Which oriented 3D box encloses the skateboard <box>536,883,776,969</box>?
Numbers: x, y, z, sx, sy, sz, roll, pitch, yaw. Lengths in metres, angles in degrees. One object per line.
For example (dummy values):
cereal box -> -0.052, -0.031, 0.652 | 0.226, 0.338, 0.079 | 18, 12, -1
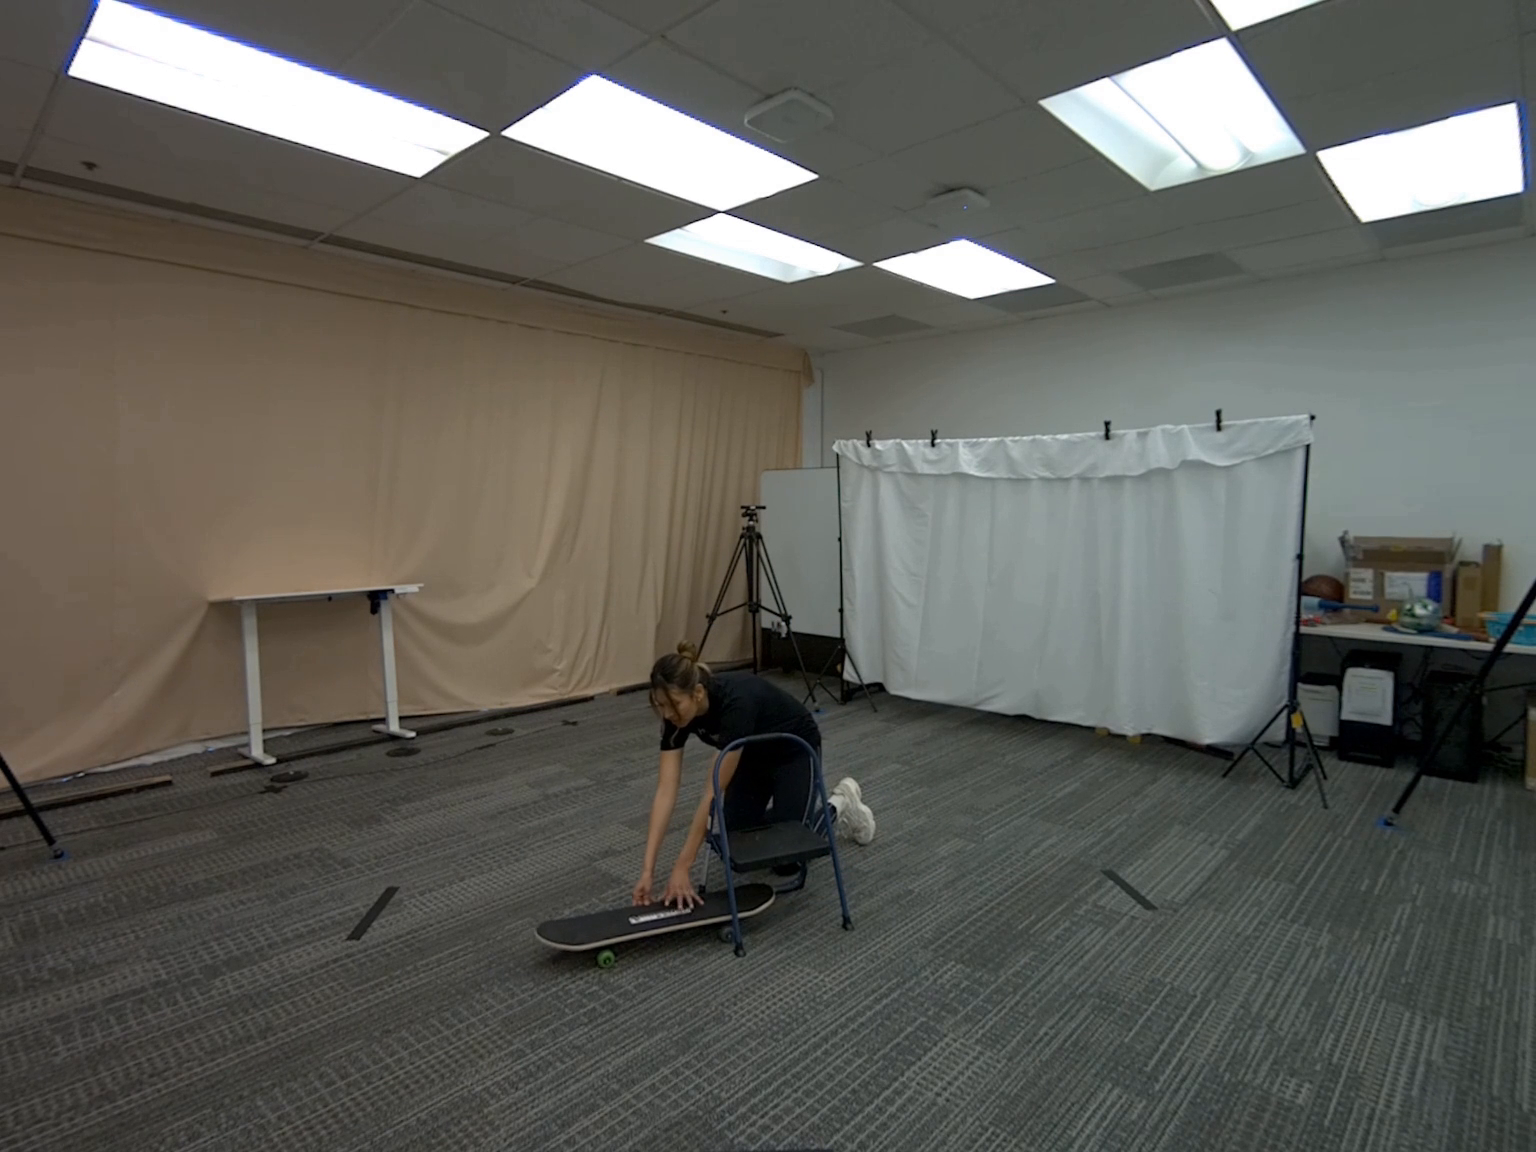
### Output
skateboard -> -0.344, 1.119, 2.677 | 0.769, 0.110, 0.197 | -2, 2, -21
